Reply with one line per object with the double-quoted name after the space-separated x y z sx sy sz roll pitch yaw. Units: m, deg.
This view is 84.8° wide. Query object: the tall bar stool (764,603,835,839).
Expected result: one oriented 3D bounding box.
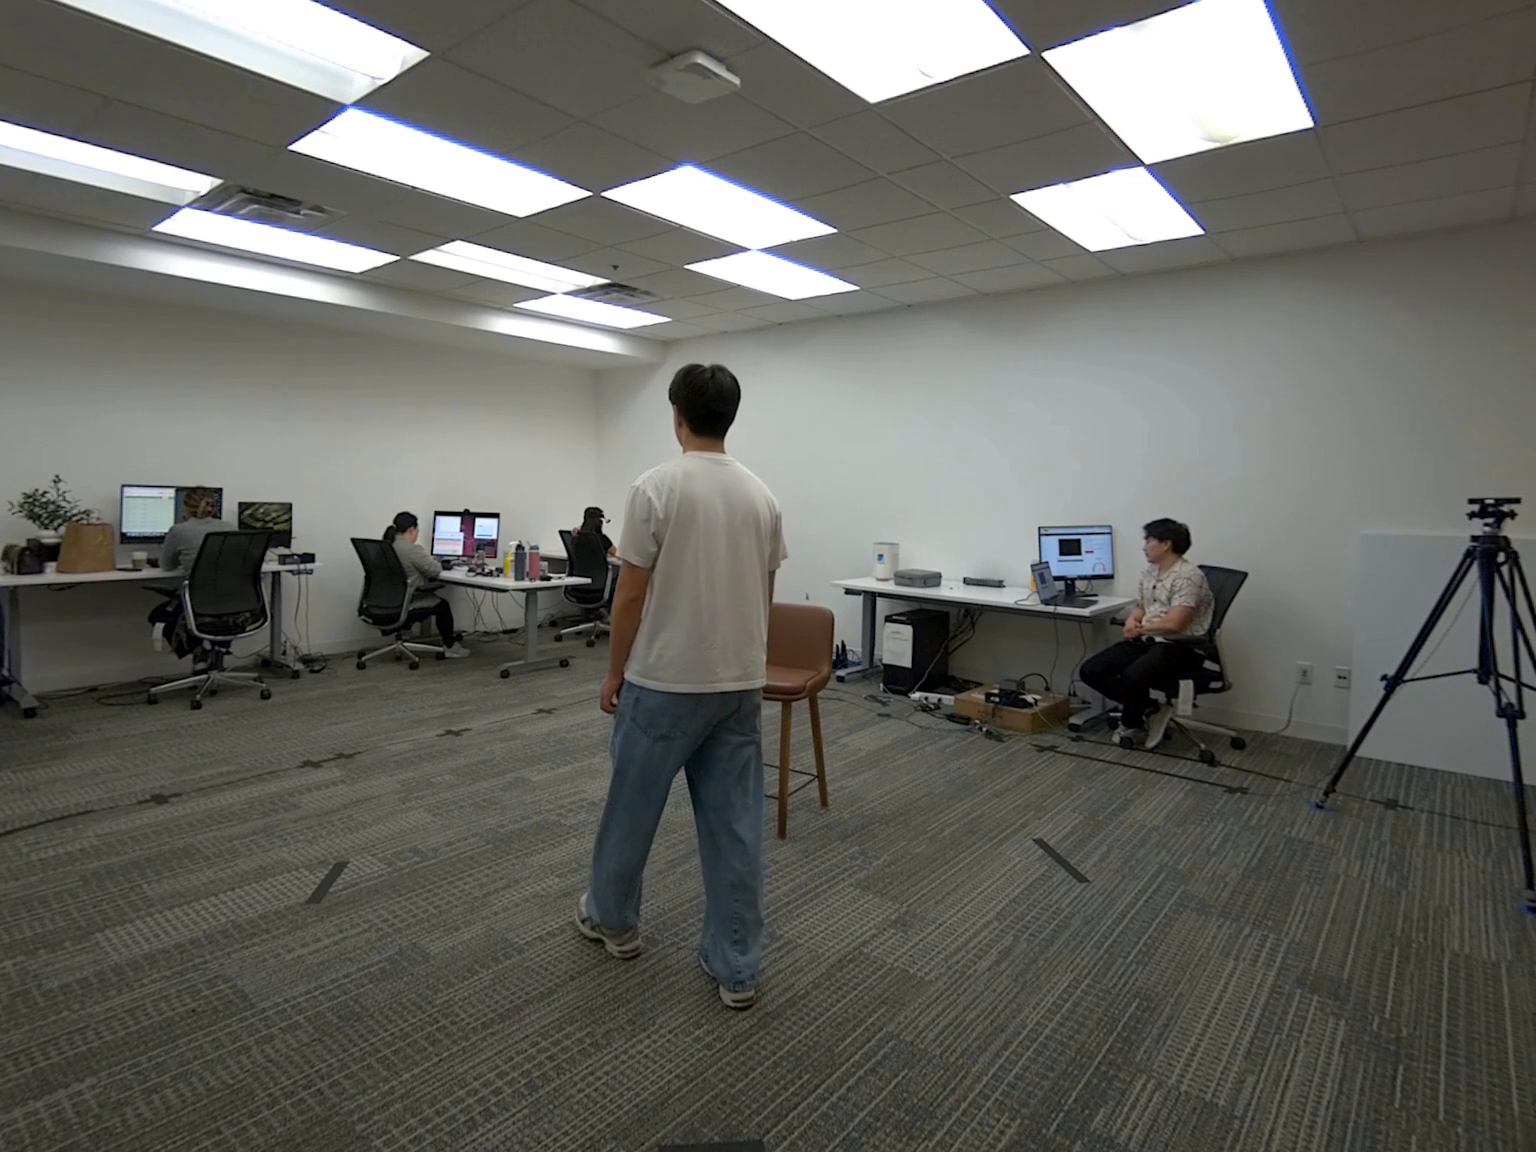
0.002 0.579 3.654 0.470 0.889 0.454 4 2 32 "tall bar stool"
